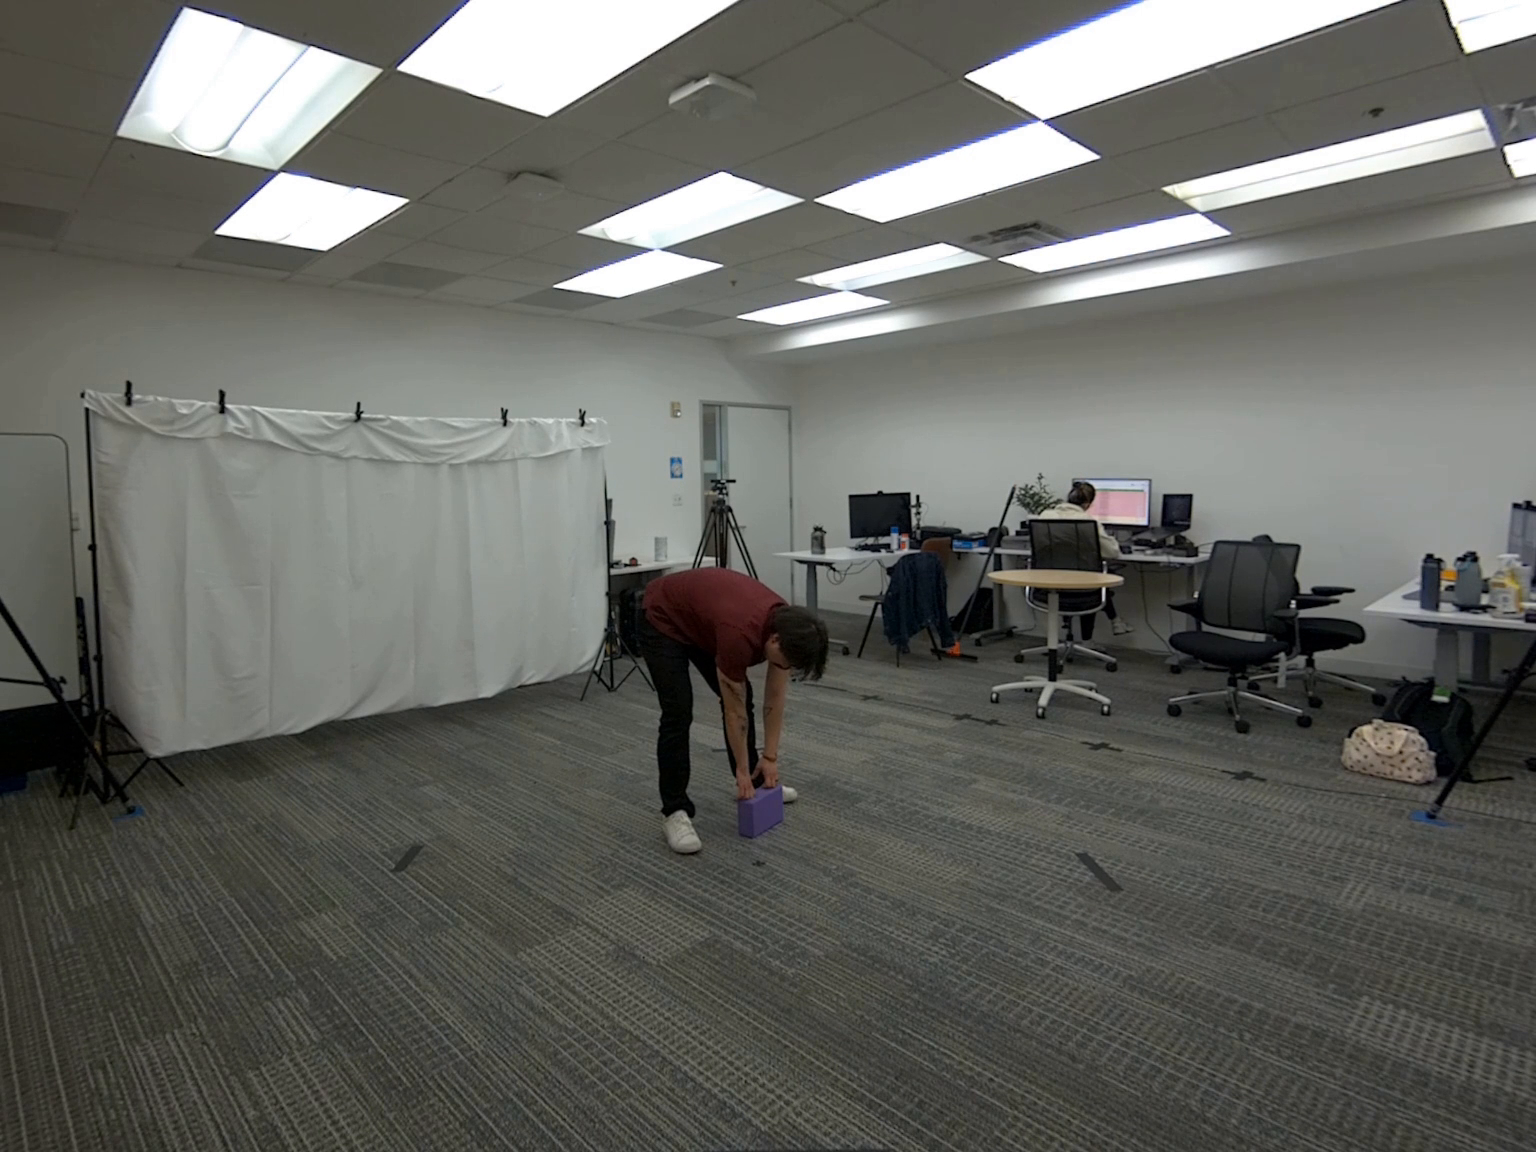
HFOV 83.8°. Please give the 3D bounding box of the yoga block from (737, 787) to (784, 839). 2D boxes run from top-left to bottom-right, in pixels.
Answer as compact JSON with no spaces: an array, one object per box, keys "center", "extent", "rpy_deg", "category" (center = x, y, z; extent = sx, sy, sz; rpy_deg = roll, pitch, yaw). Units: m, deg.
[{"center":[-0.034,0.937,3.430],"extent":[0.078,0.148,0.224],"rpy_deg":[1,6,34],"category":"yoga block"}]
